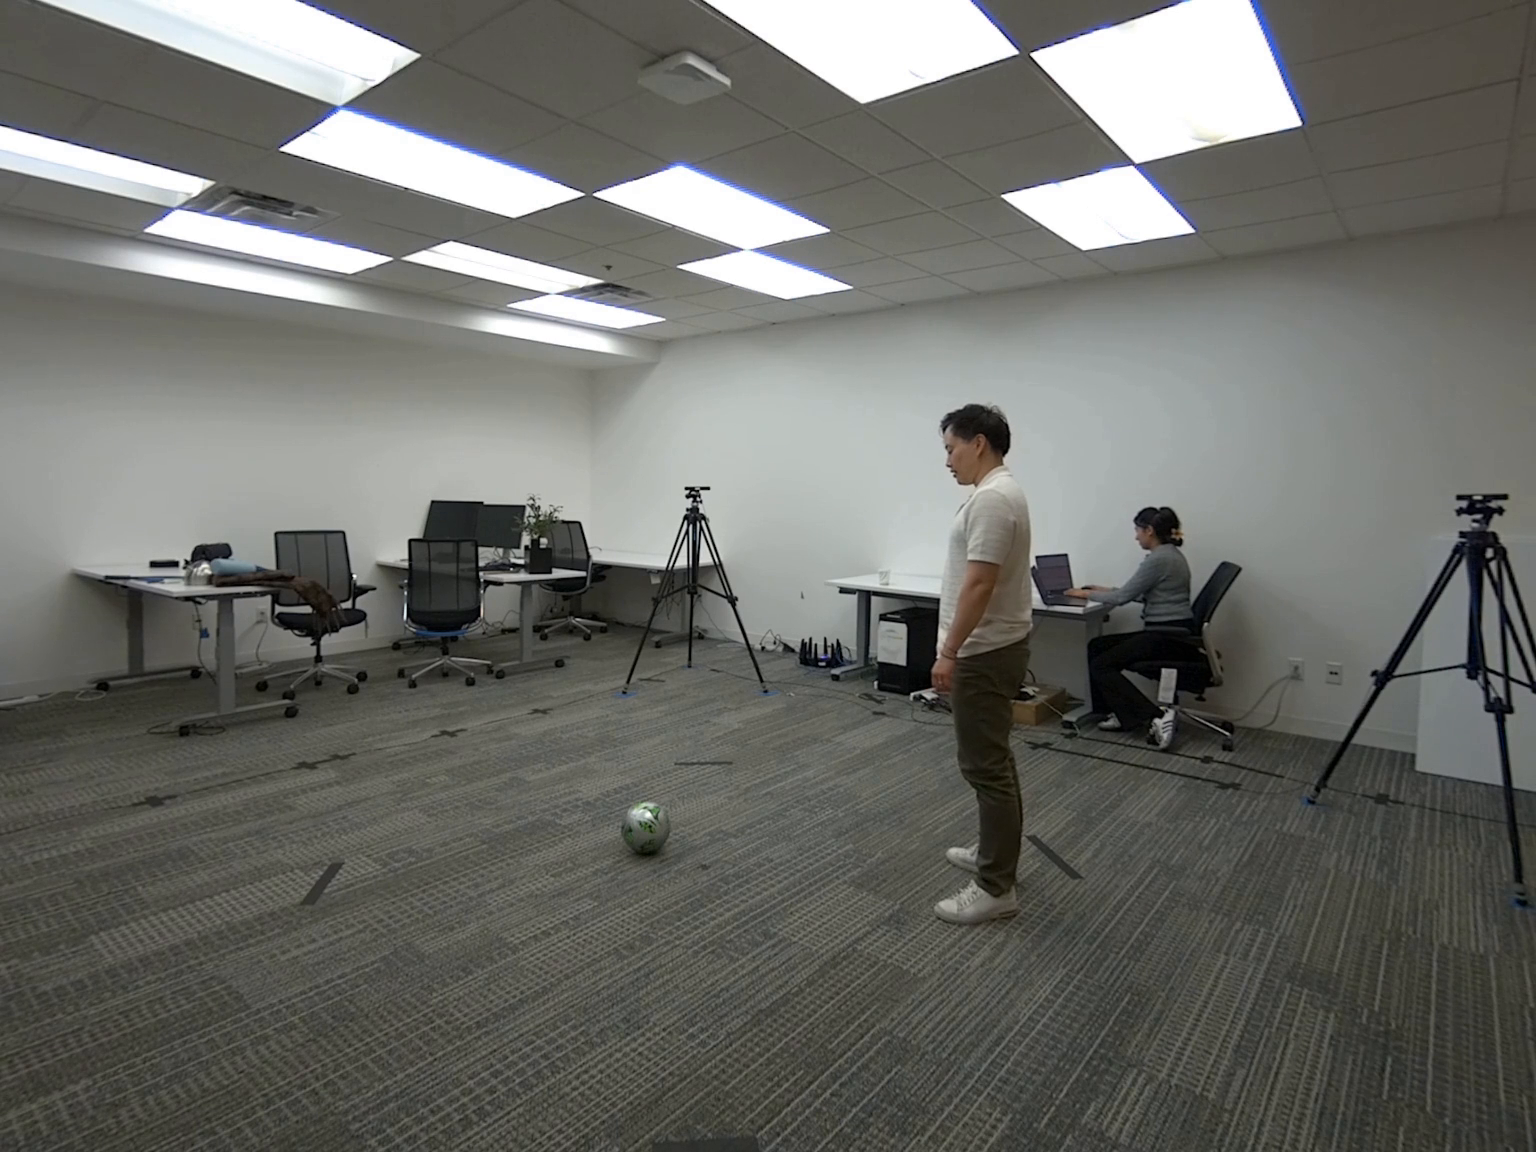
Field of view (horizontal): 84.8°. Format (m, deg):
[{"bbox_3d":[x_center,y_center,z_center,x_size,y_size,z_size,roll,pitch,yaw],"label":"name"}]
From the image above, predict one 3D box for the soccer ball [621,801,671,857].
[{"bbox_3d":[-0.475,0.948,3.237,0.187,0.187,0.188,1,4,-2],"label":"soccer ball"}]
